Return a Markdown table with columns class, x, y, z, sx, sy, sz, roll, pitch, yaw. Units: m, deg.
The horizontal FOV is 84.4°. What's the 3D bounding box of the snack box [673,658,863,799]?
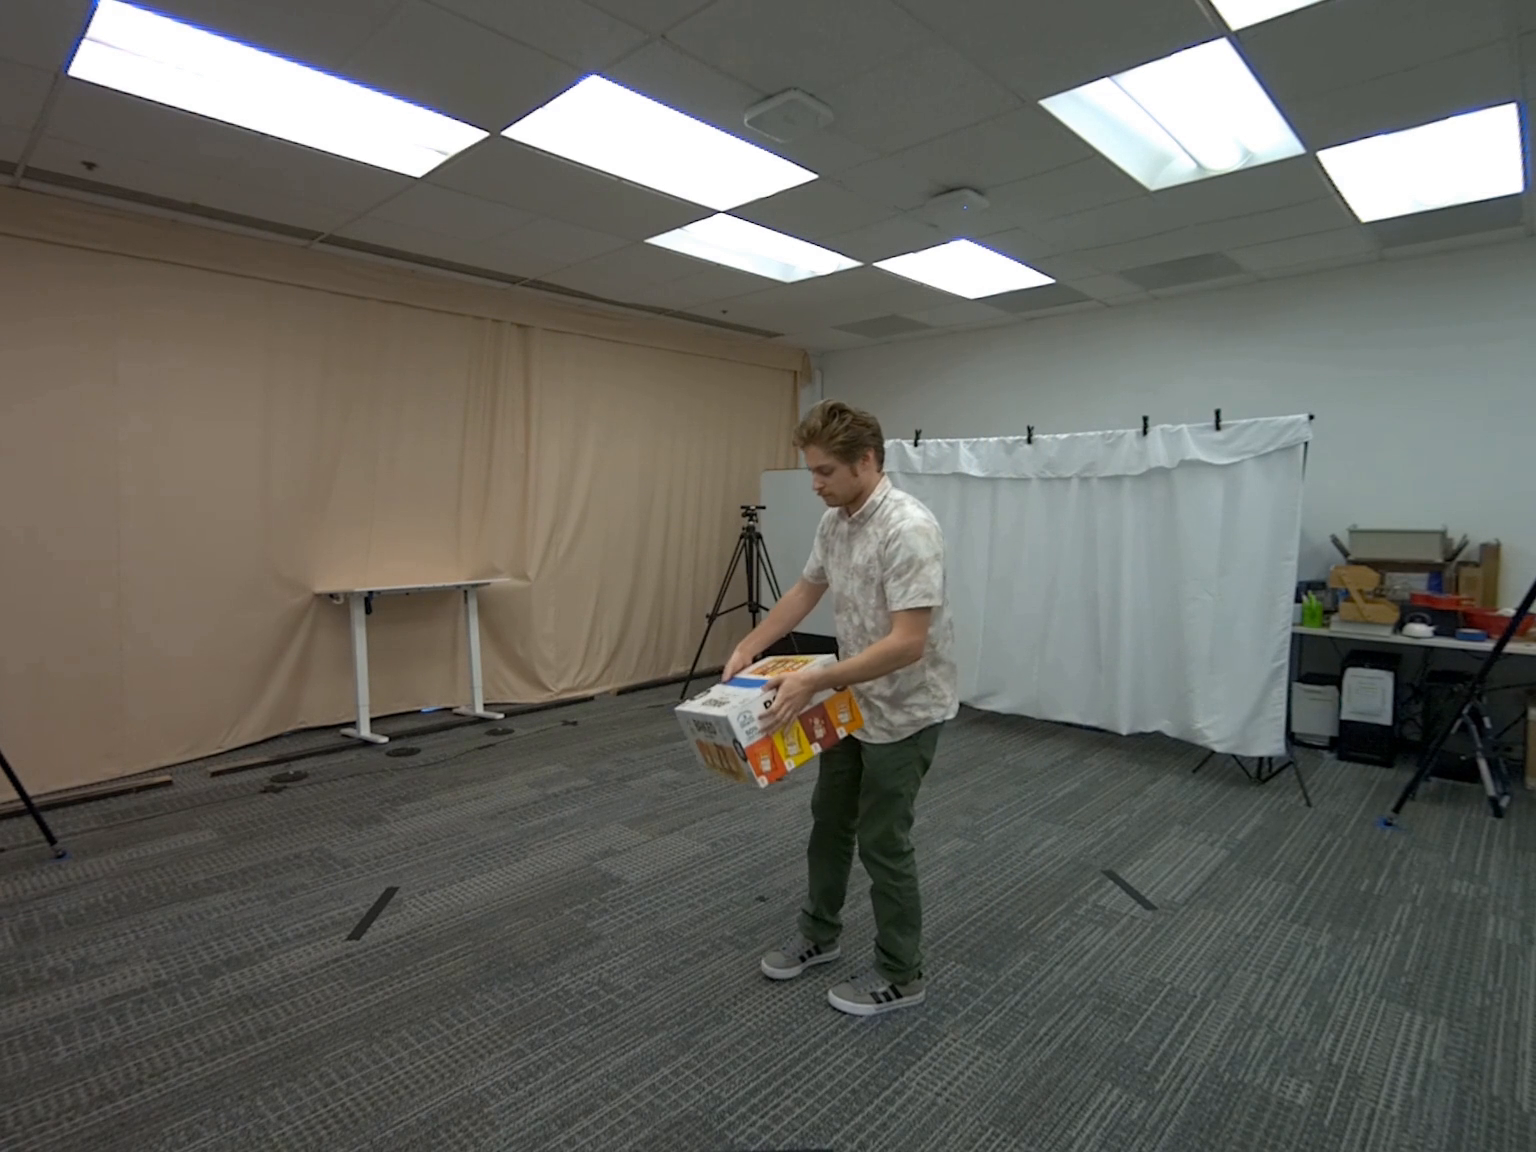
| class | x | y | z | sx | sy | sz | roll | pitch | yaw |
| --- | --- | --- | --- | --- | --- | --- | --- | --- | --- |
| snack box | -0.002 | 0.394 | 2.278 | 0.335 | 0.205 | 0.413 | -26 | 4 | -25 |
